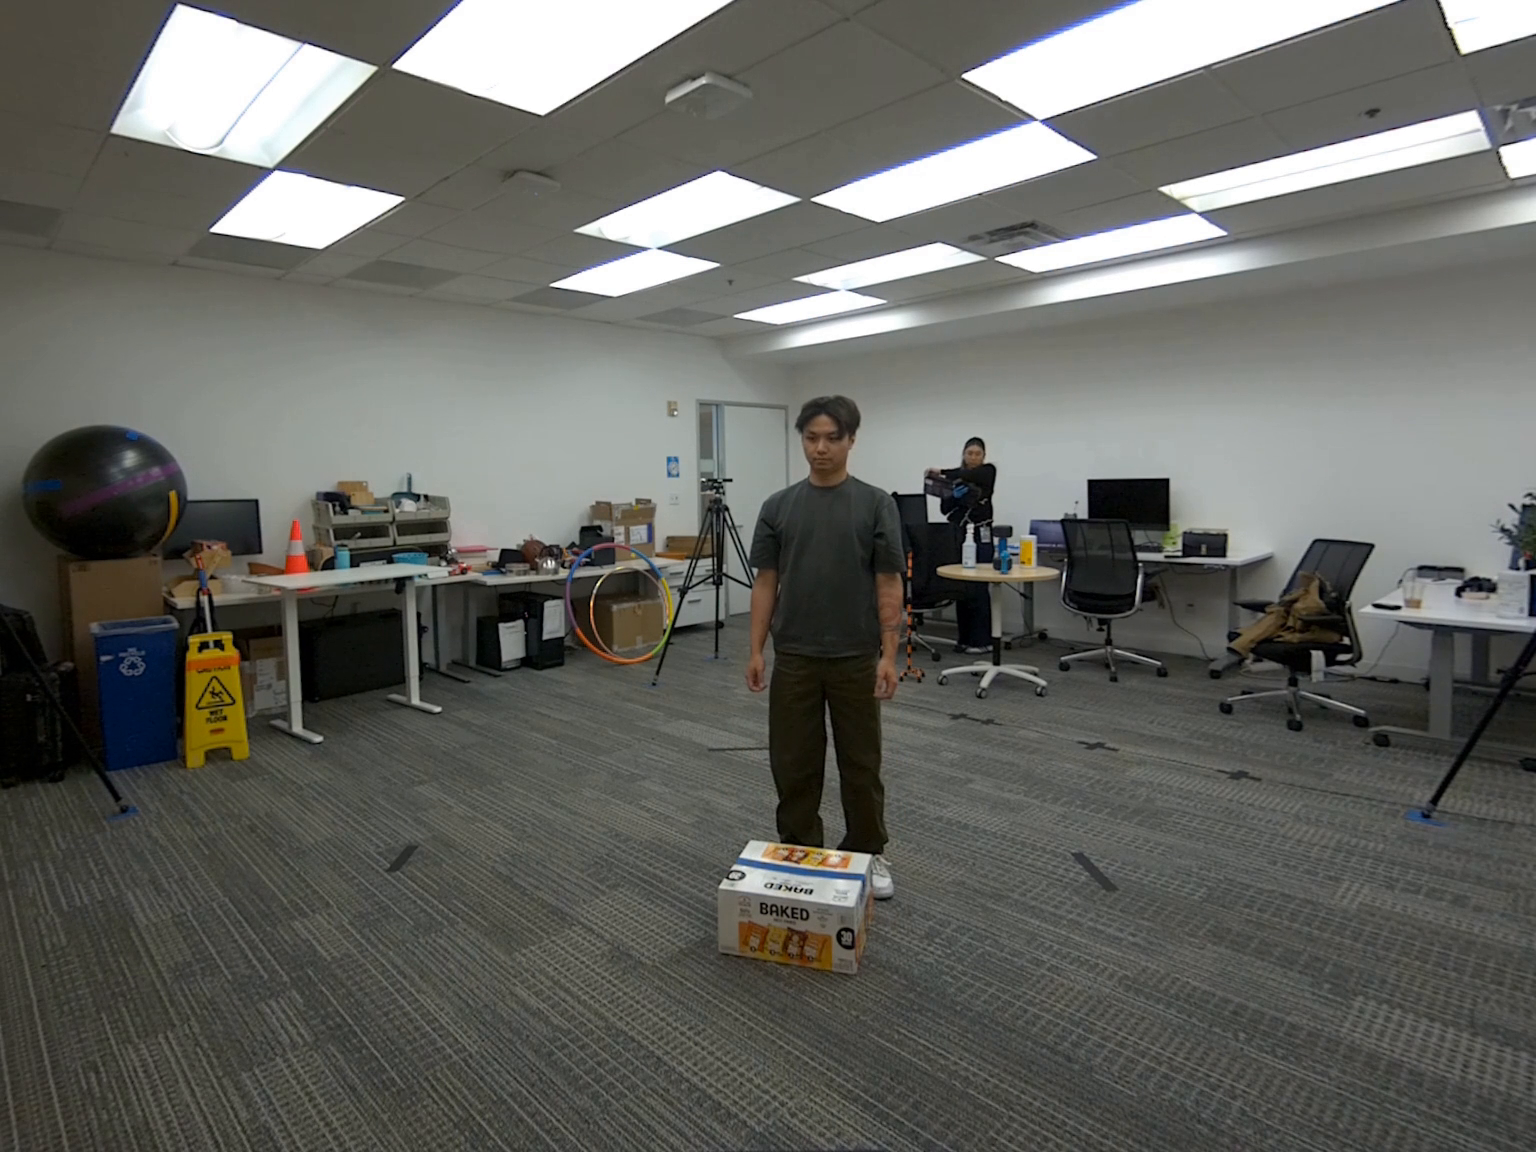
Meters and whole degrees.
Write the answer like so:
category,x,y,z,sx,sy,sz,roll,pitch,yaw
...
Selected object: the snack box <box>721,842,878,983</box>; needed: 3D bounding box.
category,x,y,z,sx,sy,sz,roll,pitch,yaw
snack box,0.103,1.004,2.603,0.412,0.205,0.336,1,6,17
